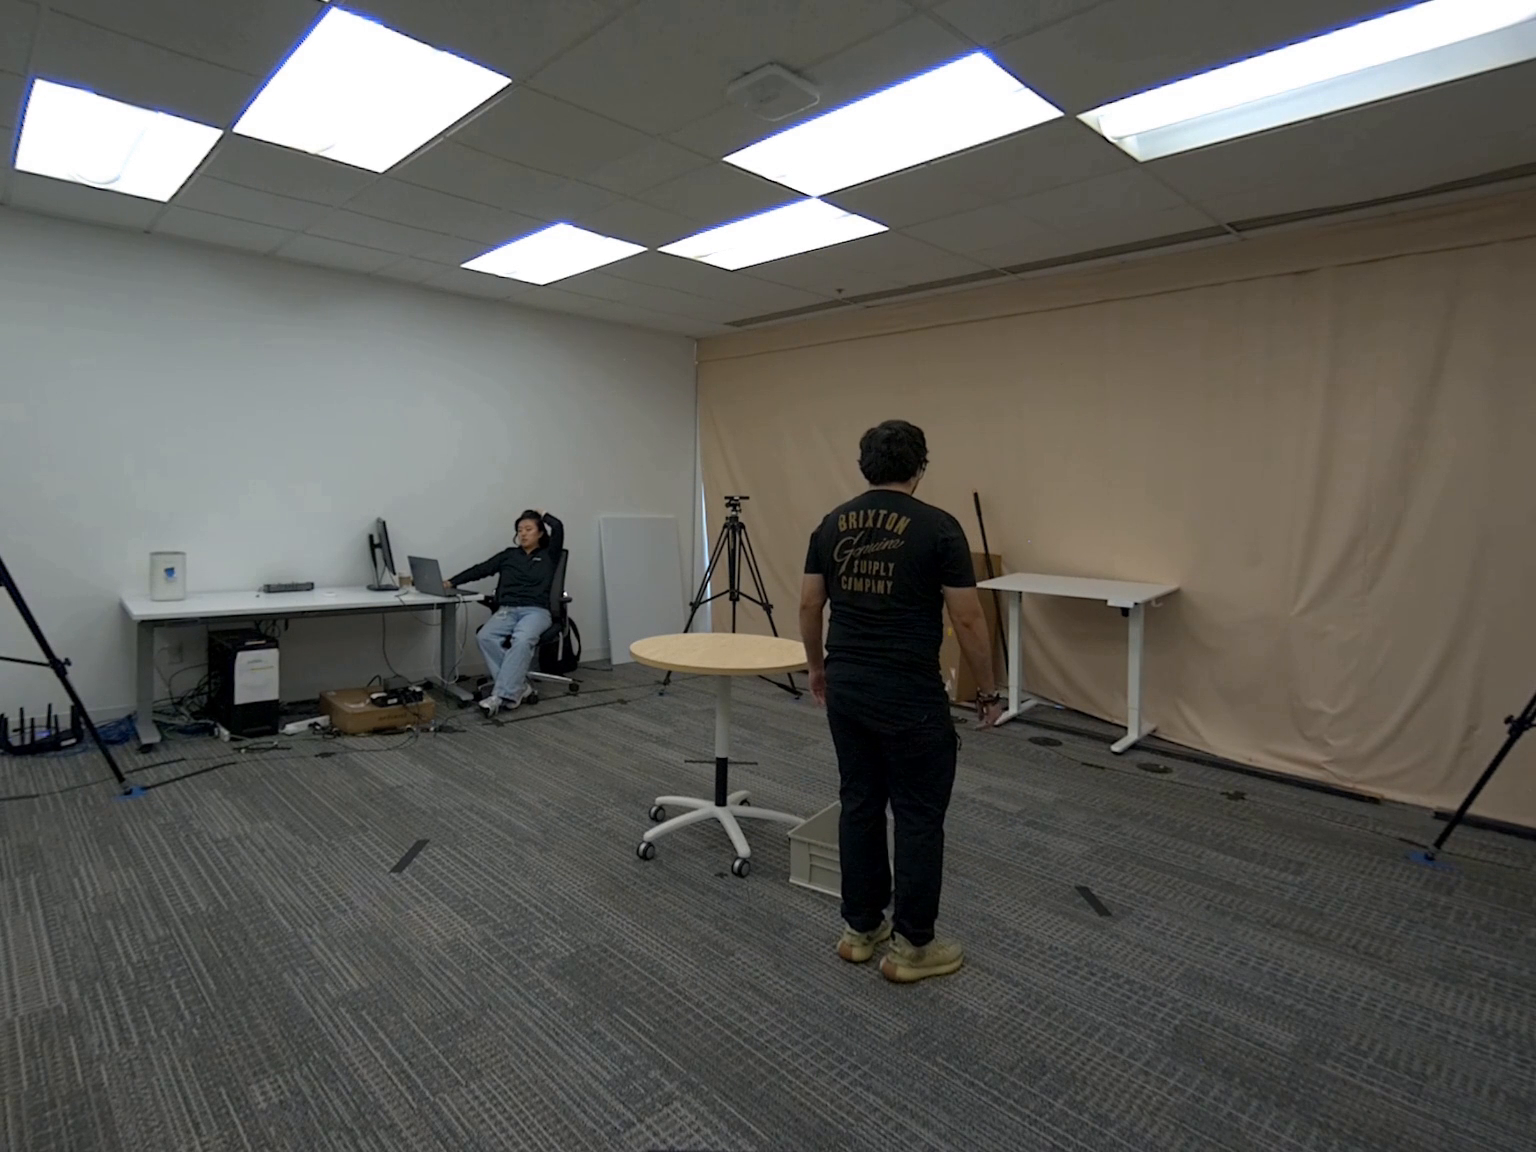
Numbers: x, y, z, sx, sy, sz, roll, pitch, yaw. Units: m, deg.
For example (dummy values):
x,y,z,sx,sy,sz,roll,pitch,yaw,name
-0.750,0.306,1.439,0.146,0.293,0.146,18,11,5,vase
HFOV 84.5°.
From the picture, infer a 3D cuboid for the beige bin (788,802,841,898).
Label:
x,y,z,sx,sy,sz,roll,pitch,yaw,name
0.318,1.027,3.127,0.386,0.188,0.414,3,6,32,beige bin
